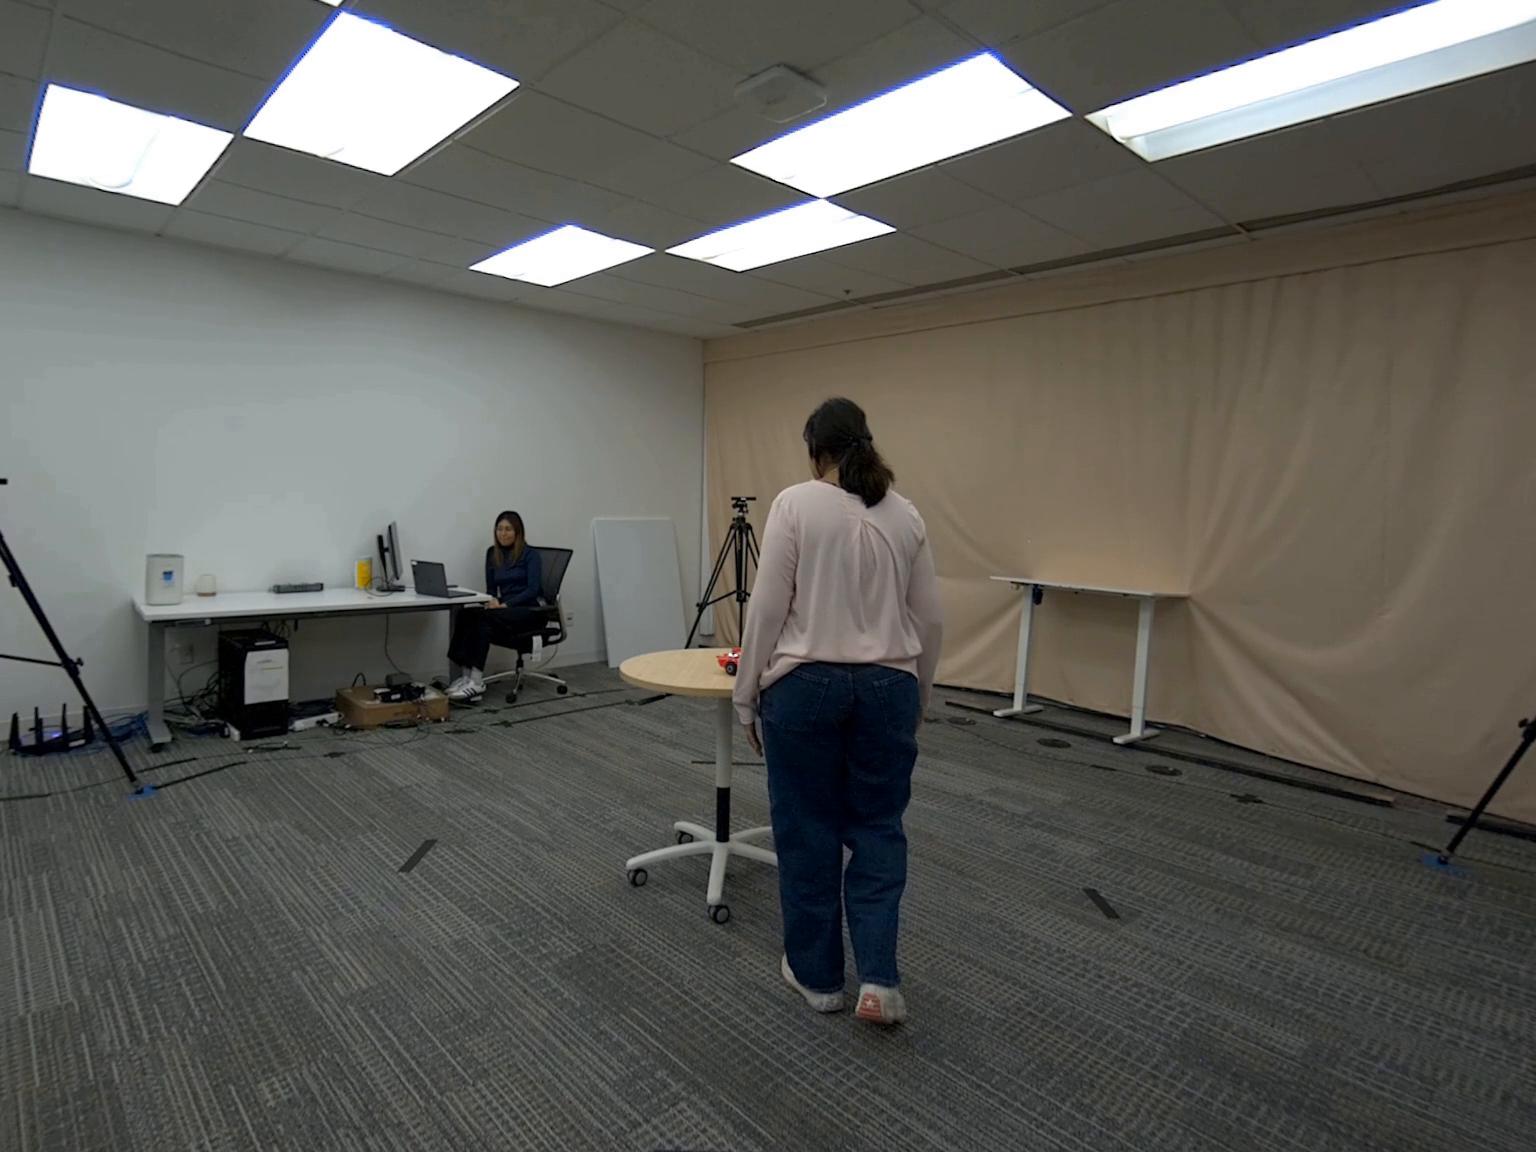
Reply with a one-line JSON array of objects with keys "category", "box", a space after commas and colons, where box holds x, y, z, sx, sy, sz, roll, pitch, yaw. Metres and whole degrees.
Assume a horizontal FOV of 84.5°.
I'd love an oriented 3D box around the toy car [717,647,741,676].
[{"category": "toy car", "box": [-0.067, 0.313, 2.904, 0.261, 0.083, 0.128, 16, 11, 28]}]
